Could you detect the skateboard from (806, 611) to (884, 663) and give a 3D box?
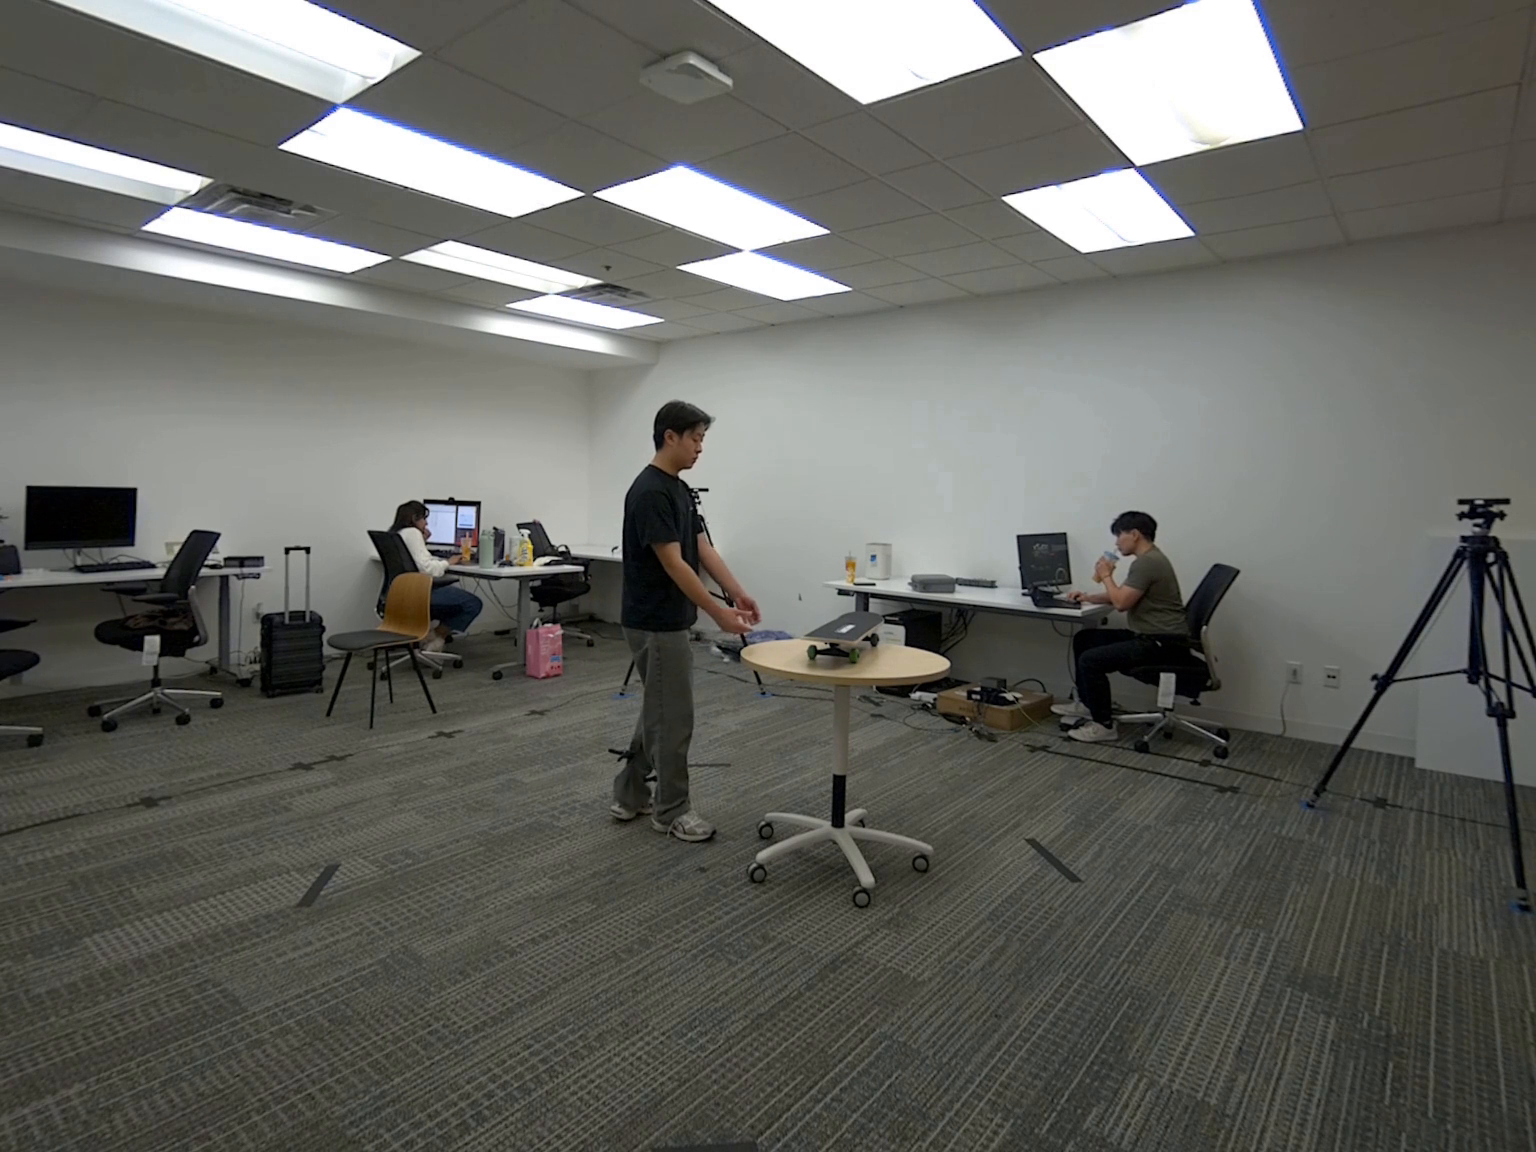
[{"bbox_3d":[0.290,0.240,3.247,0.198,0.110,0.771,3,6,19],"label":"skateboard"}]
